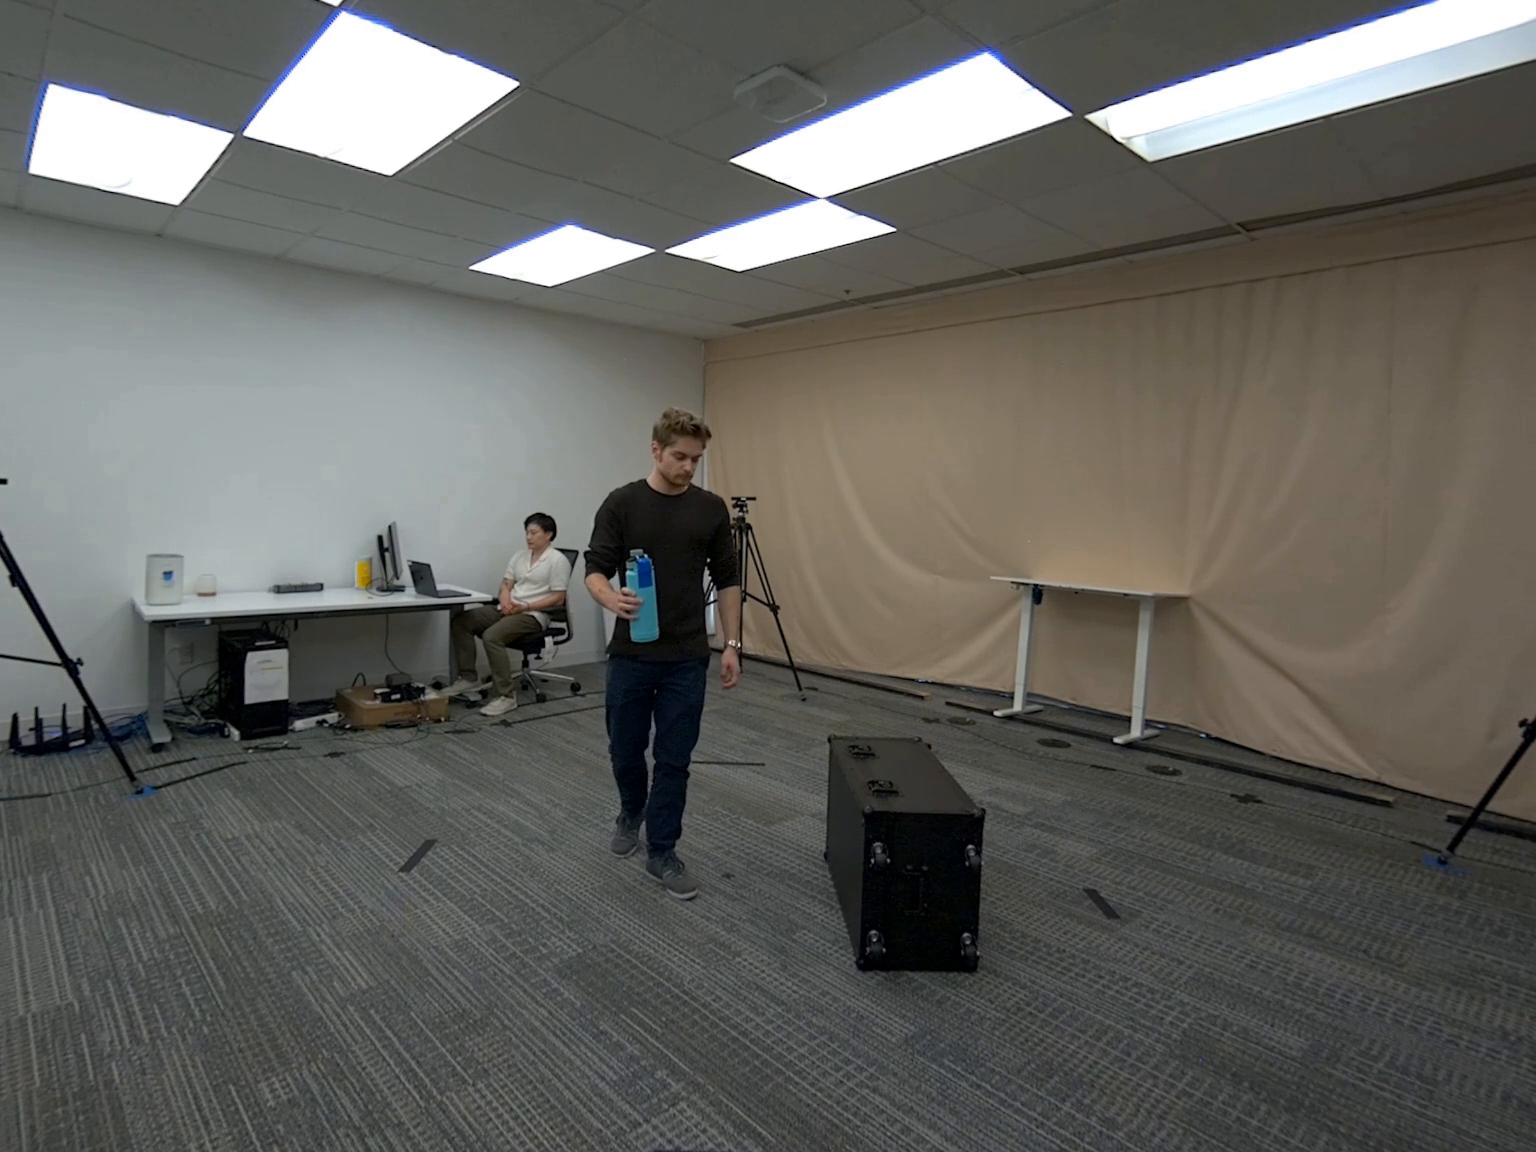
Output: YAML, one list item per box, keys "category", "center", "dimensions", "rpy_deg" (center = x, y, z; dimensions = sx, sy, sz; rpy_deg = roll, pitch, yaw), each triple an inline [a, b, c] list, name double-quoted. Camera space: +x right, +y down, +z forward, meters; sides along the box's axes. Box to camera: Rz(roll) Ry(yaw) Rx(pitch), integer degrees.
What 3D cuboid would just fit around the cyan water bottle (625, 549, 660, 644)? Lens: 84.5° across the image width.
- category: "cyan water bottle"
  center: [-0.413, 0.062, 2.648]
  dimensions: [0.092, 0.281, 0.093]
  rpy_deg: [0, 12, -1]
